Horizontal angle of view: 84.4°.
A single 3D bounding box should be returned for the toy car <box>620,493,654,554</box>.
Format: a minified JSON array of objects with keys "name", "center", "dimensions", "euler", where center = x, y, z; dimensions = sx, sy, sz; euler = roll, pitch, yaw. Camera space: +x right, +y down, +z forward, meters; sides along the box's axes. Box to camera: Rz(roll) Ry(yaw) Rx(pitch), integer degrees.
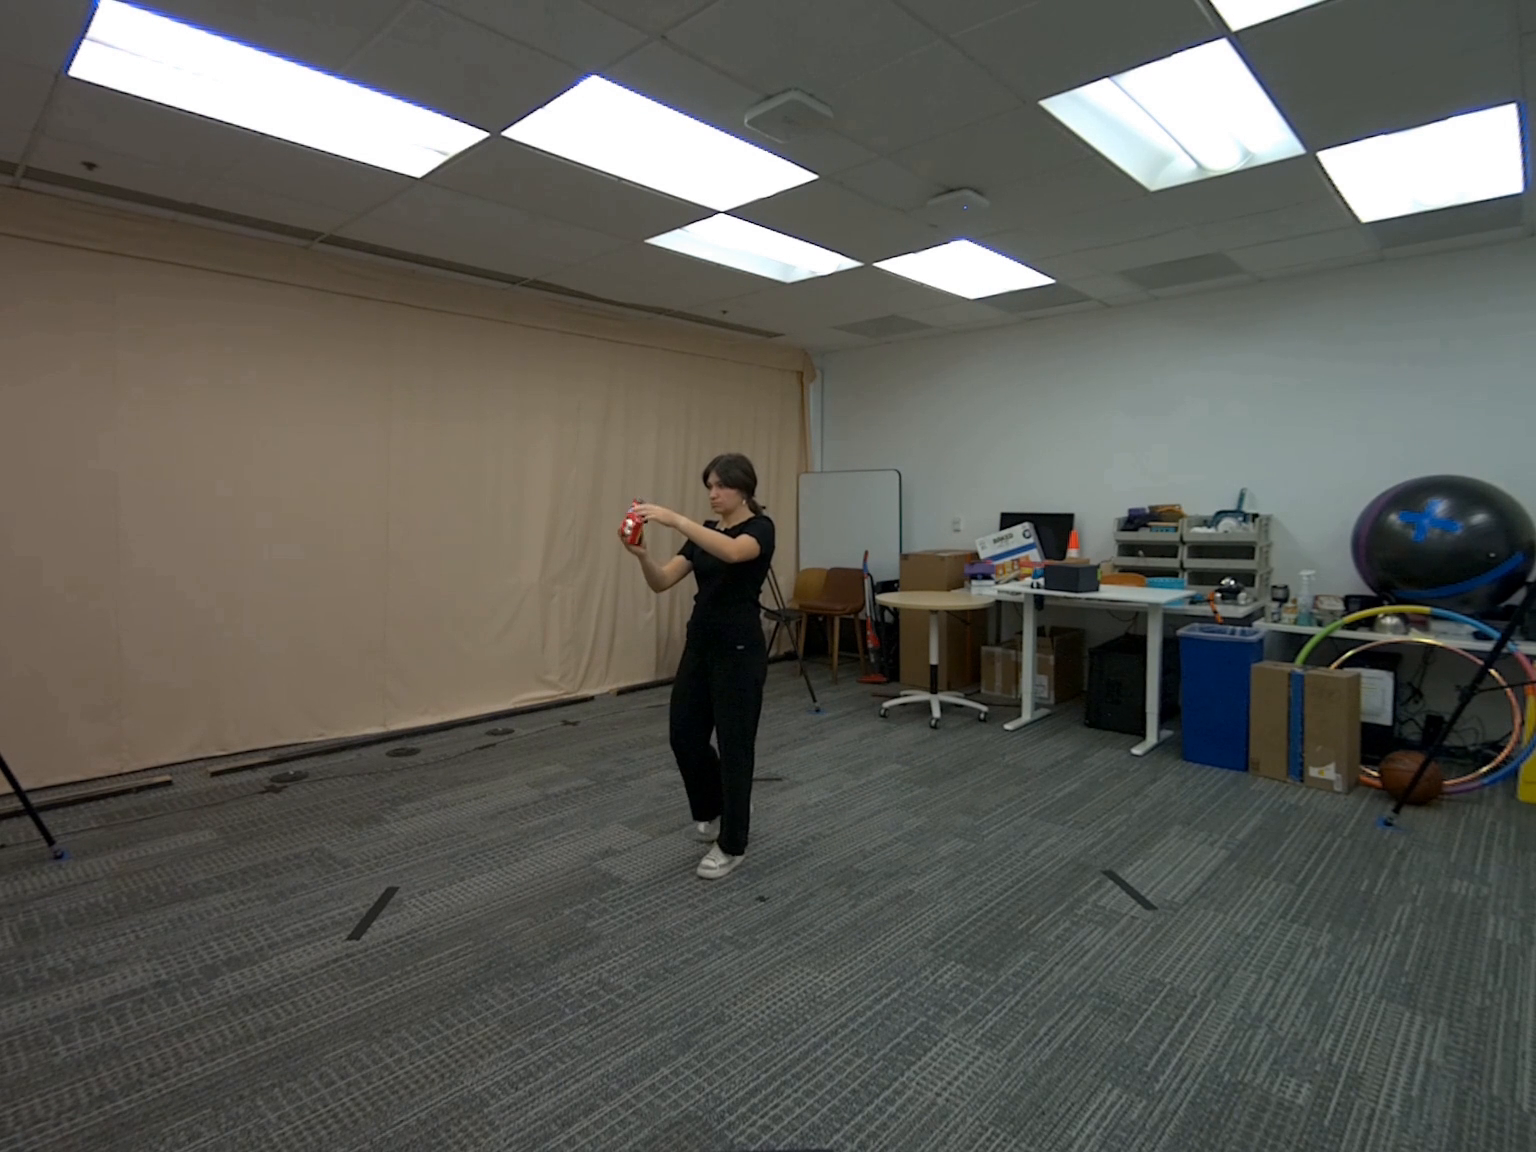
[{"name":"toy car","center":[-0.462,-0.186,2.989],"dimensions":[0.082,0.129,0.258],"euler":[9,22,-8]}]
